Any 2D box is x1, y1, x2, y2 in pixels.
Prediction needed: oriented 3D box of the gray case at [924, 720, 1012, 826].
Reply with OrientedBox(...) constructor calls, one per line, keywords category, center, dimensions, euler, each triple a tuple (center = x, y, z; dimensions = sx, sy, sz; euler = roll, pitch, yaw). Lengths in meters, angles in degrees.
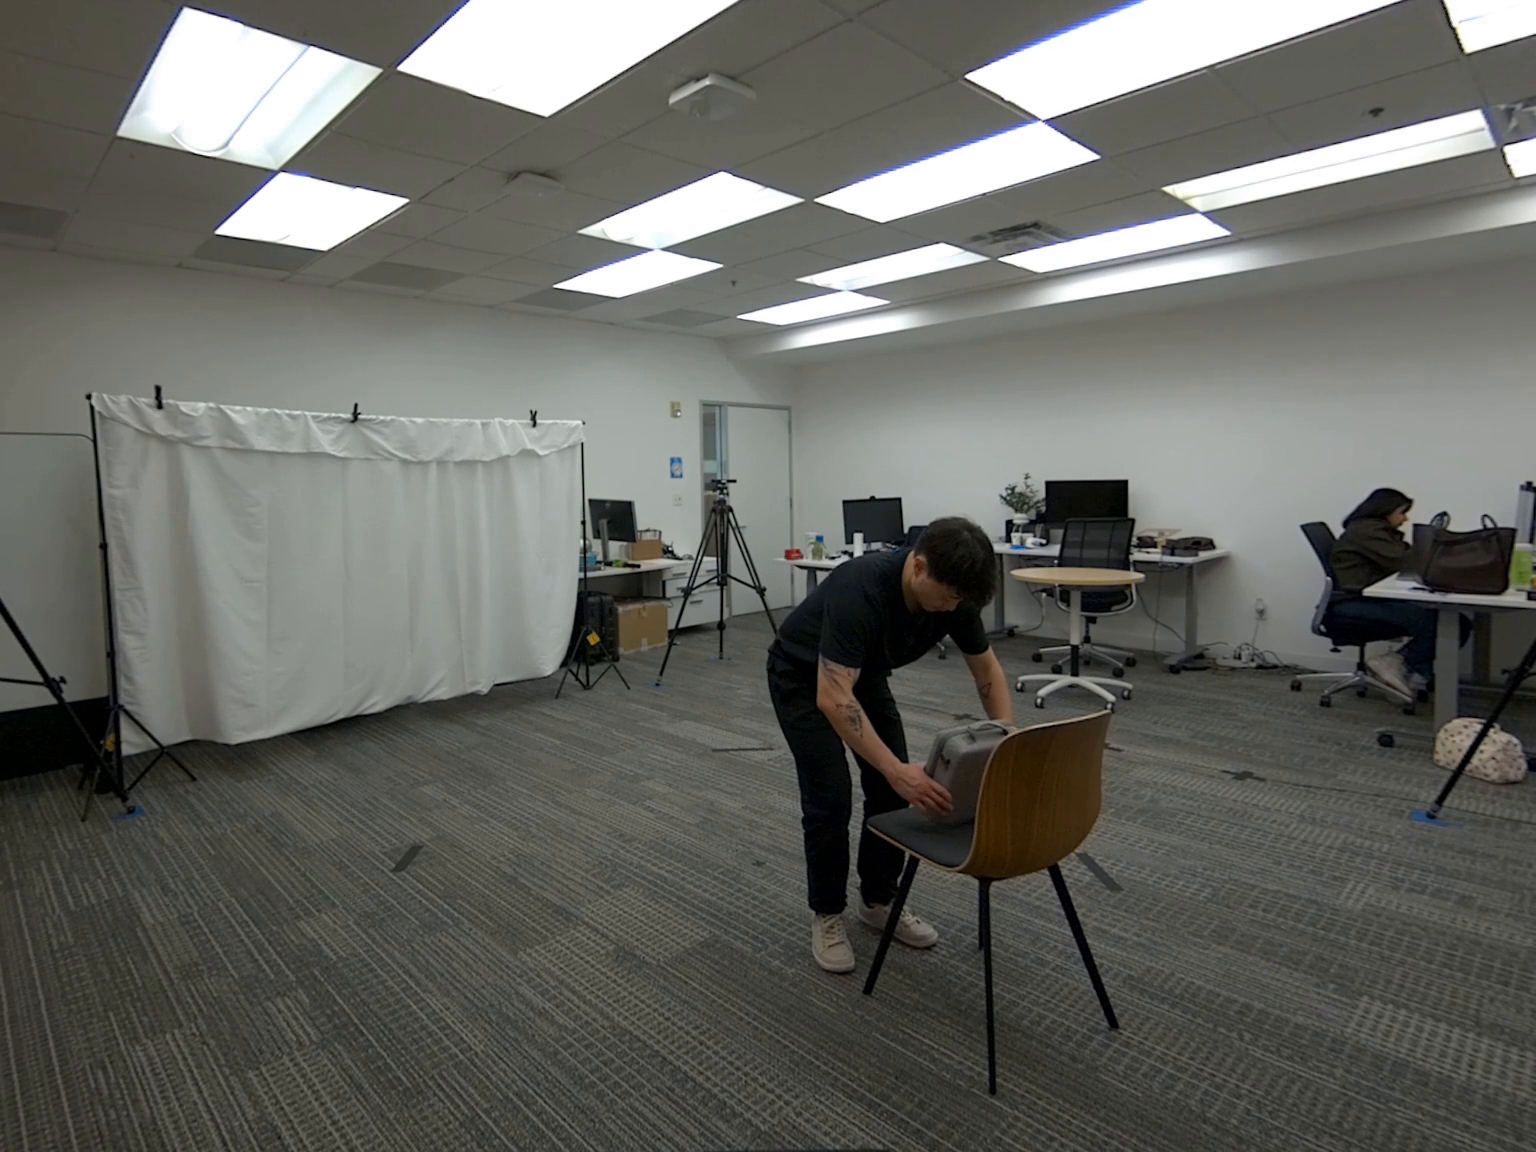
OrientedBox(category="gray case", center=(0.542, 0.501, 2.219), dimensions=(0.251, 0.256, 0.108), euler=(-2, 29, -25))
